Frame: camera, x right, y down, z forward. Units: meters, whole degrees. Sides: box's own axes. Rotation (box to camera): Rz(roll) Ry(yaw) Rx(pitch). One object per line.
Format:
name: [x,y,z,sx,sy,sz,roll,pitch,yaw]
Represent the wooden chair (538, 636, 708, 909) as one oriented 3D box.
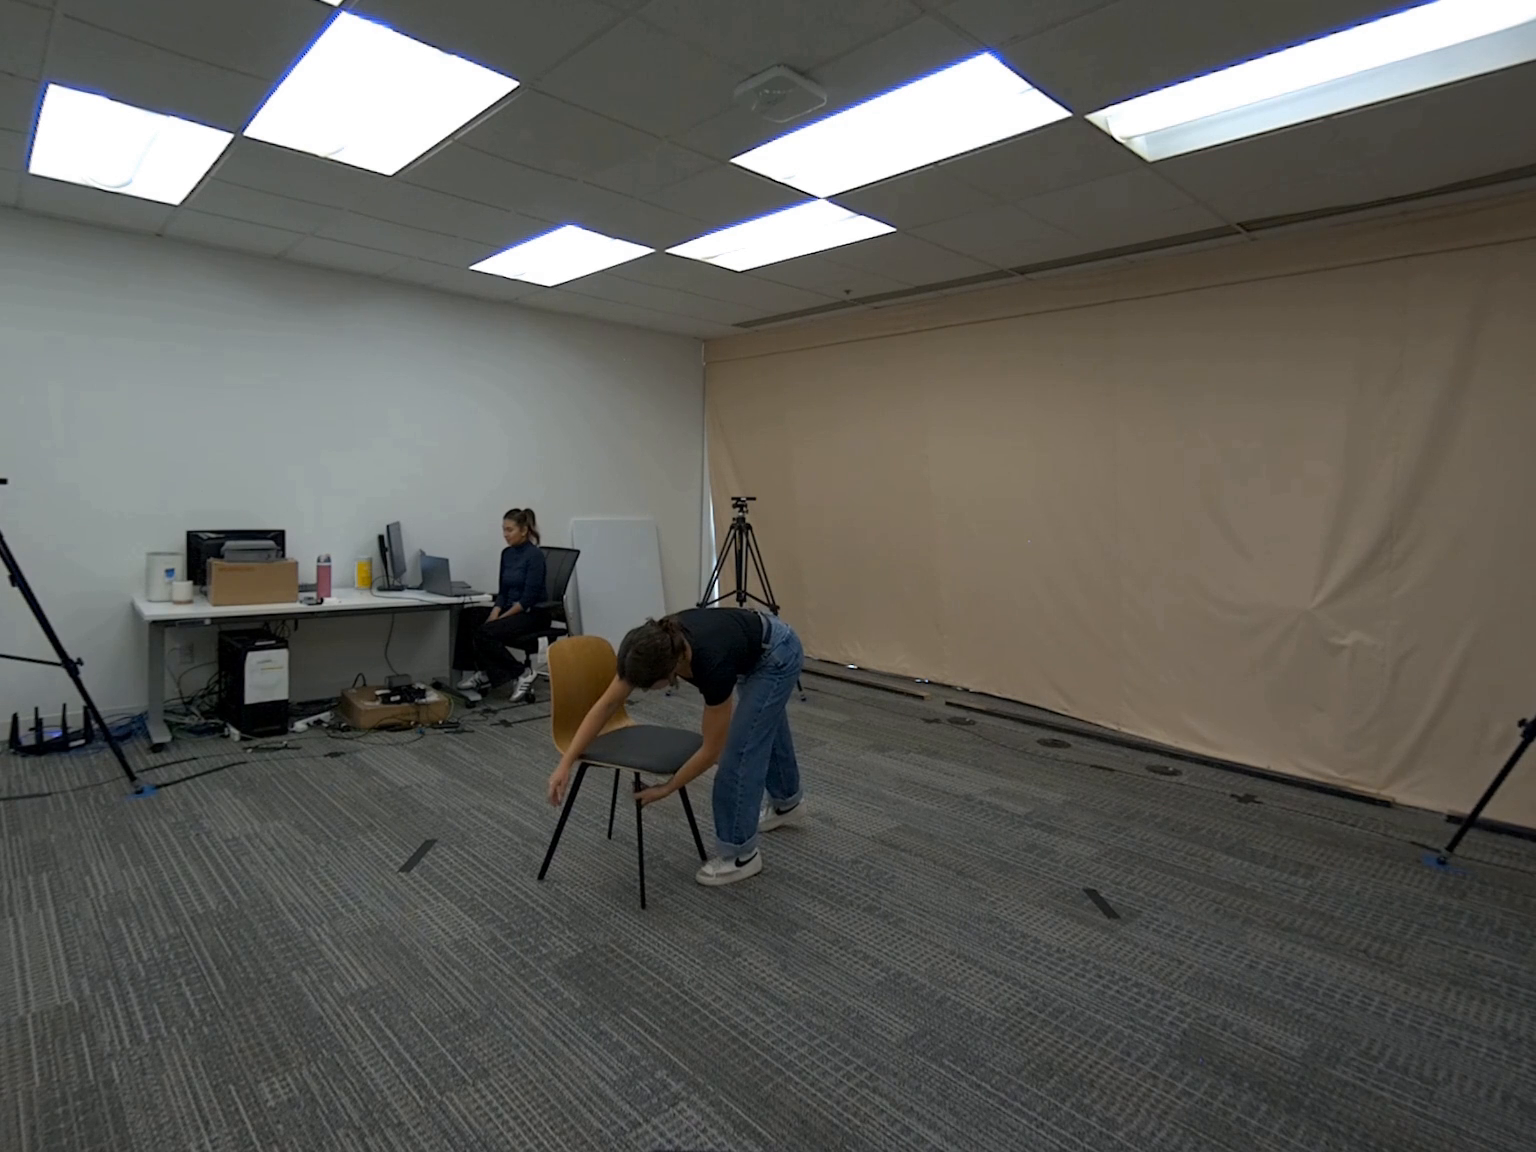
wooden chair: [-0.513,0.667,3.101,0.533,0.876,0.470,-1,2,26]
